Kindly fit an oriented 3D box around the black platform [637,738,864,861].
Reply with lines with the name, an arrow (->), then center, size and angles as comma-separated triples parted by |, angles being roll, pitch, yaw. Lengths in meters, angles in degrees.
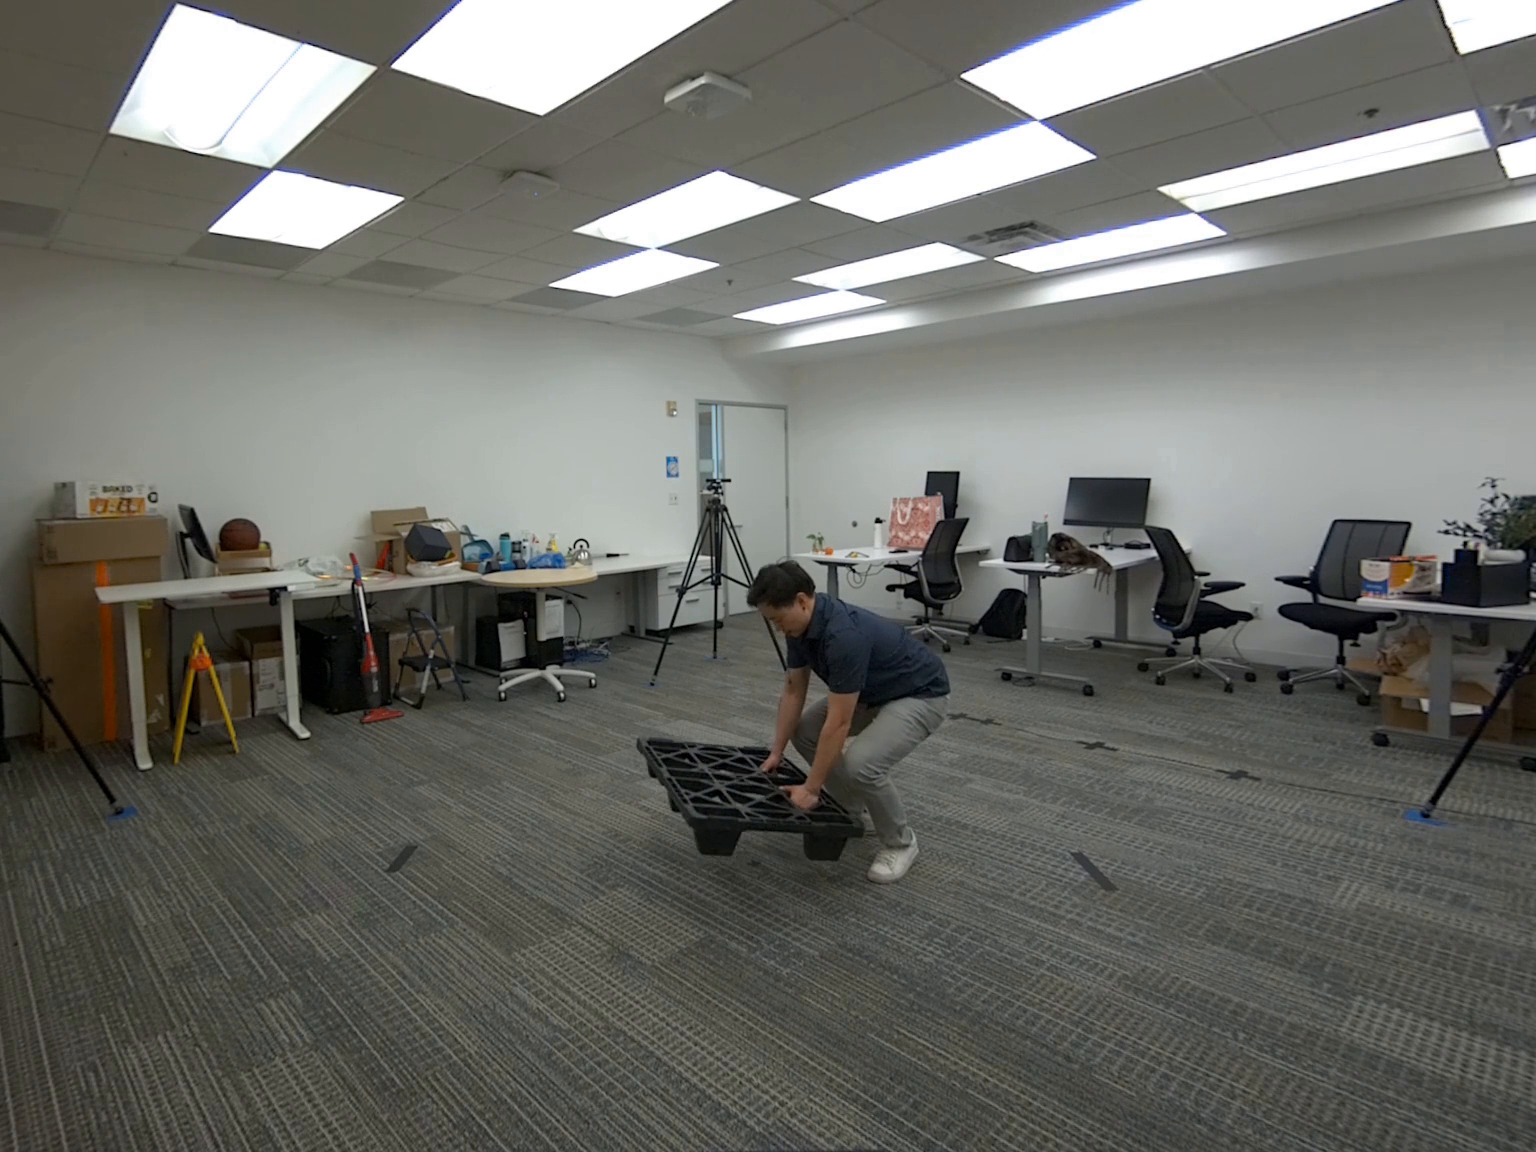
black platform -> -0.104, 0.776, 3.027 | 0.593, 0.143, 0.823 | 8, 4, -20
